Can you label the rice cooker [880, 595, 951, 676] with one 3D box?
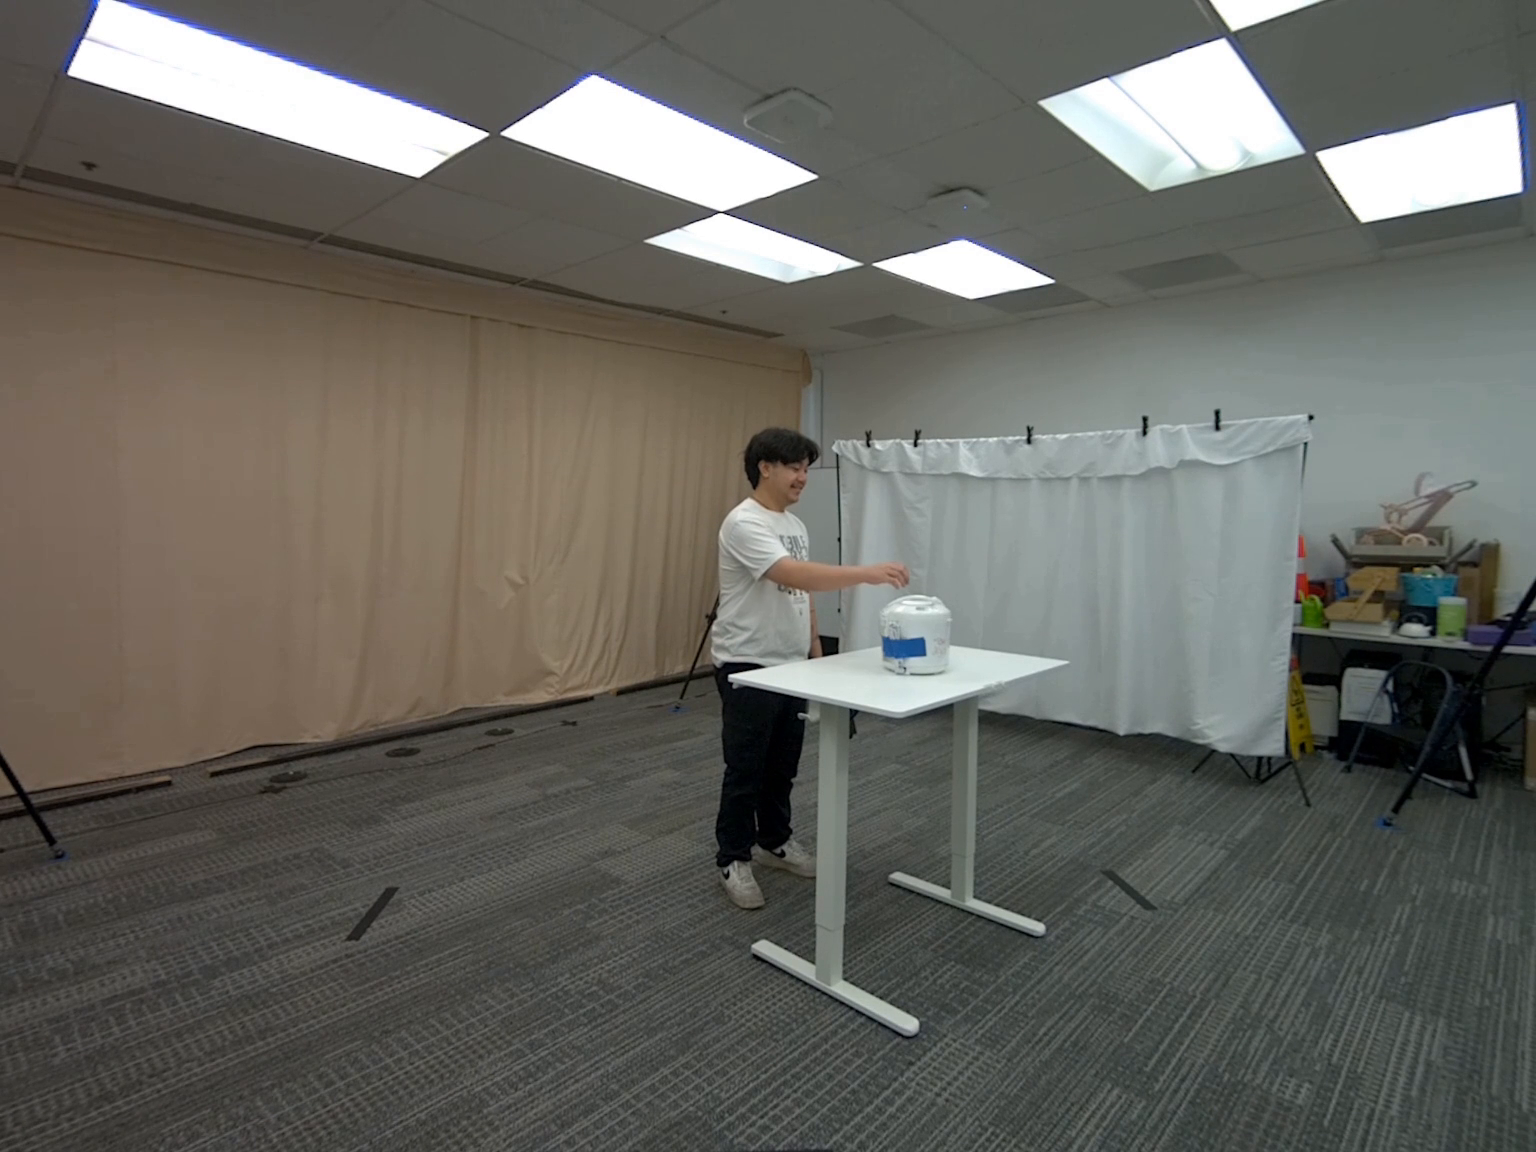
[{"bbox_3d":[0.461,0.177,2.595,0.219,0.232,0.219,1,4,-6],"label":"rice cooker"}]
